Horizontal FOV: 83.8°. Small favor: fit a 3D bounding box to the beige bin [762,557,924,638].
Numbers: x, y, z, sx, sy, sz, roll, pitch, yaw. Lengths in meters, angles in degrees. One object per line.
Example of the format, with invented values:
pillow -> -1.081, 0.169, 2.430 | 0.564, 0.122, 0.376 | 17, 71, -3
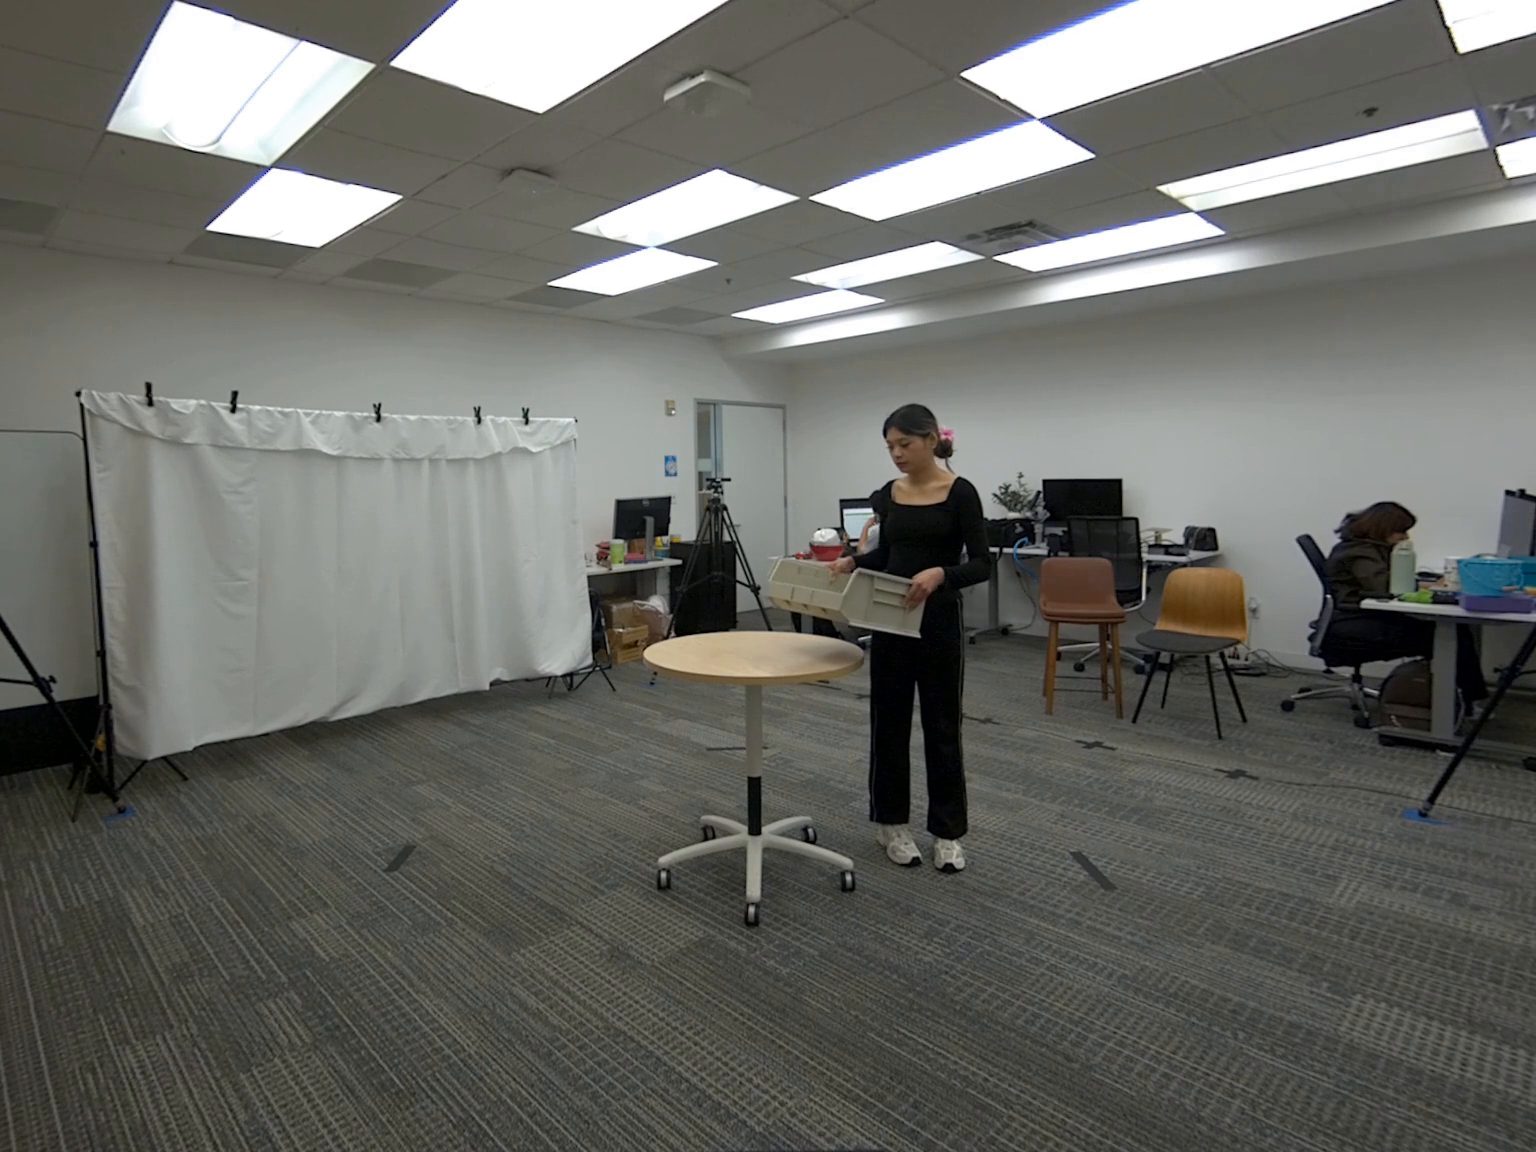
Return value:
beige bin -> 0.258, 0.065, 2.878 | 0.366, 0.189, 0.435 | 12, -2, -34
